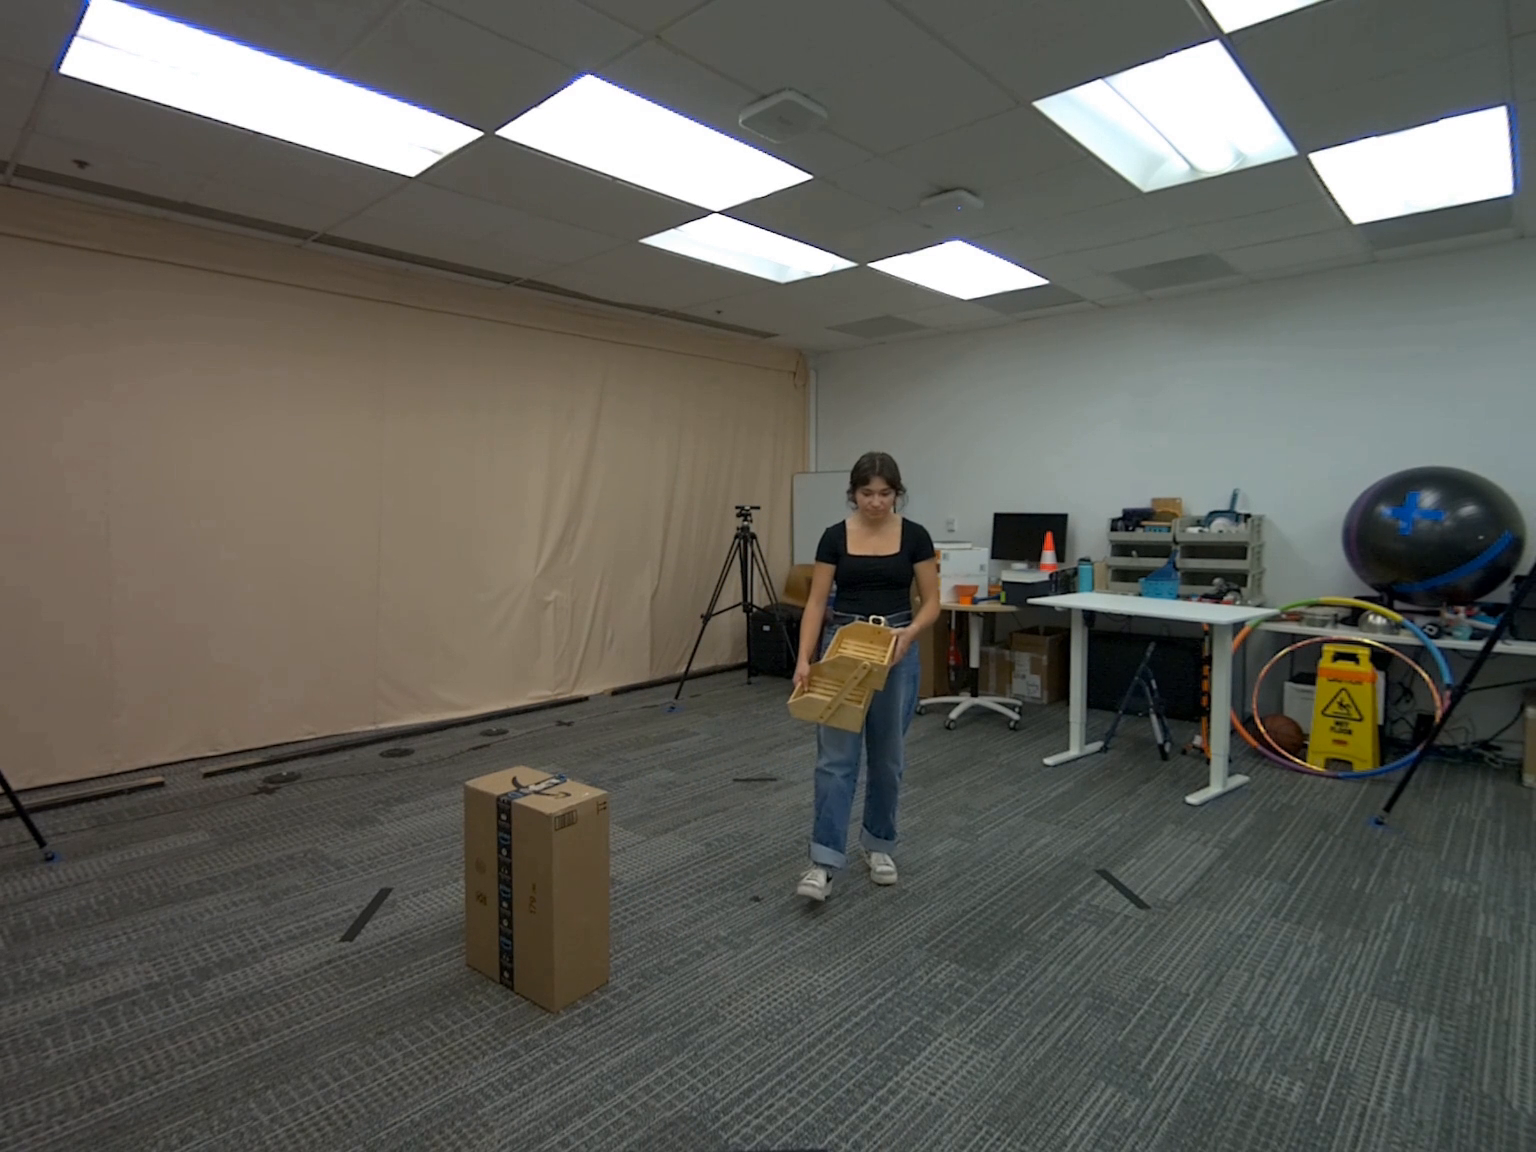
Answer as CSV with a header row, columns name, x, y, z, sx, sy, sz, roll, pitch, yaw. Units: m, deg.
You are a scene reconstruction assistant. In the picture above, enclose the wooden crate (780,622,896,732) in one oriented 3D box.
name,x,y,z,sx,sy,sz,roll,pitch,yaw
wooden crate,0.249,0.317,2.854,0.308,0.271,0.321,13,21,15
